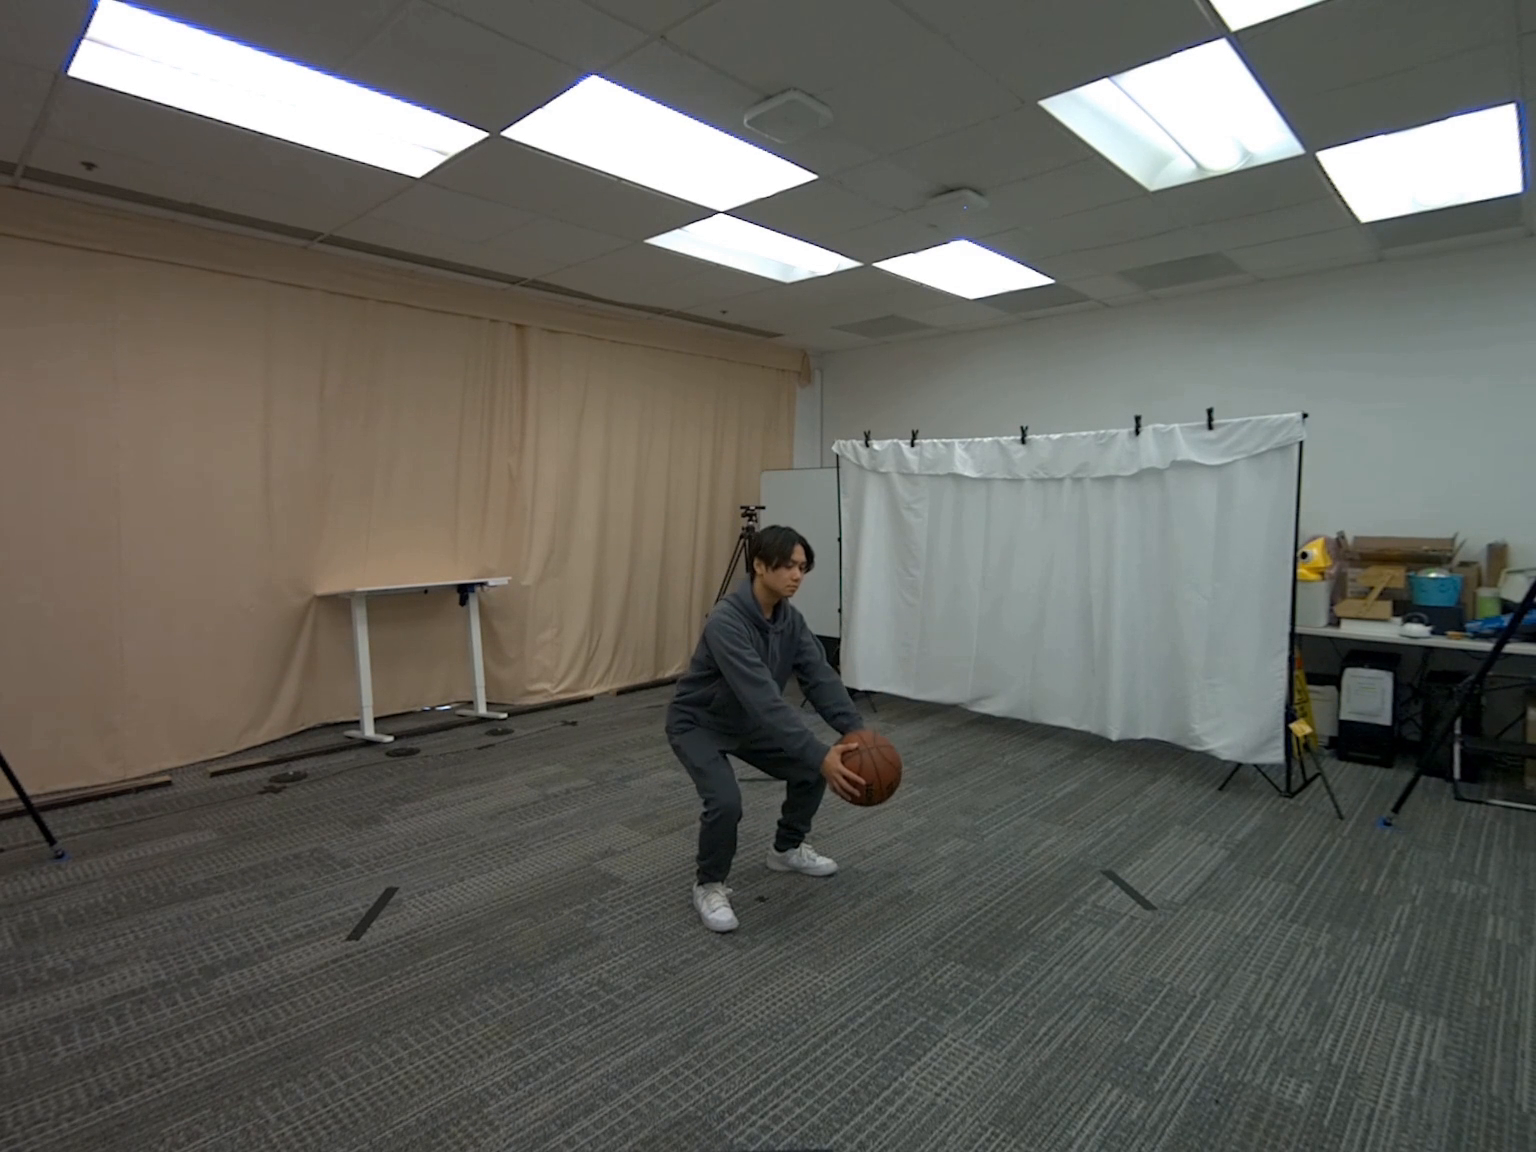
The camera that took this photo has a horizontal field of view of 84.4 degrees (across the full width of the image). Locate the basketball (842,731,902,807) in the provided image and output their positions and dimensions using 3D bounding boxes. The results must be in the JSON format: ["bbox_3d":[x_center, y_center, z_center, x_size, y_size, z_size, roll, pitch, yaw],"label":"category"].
[{"bbox_3d":[0.312,0.617,2.696,0.236,0.235,0.237,0,4,-2],"label":"basketball"}]
